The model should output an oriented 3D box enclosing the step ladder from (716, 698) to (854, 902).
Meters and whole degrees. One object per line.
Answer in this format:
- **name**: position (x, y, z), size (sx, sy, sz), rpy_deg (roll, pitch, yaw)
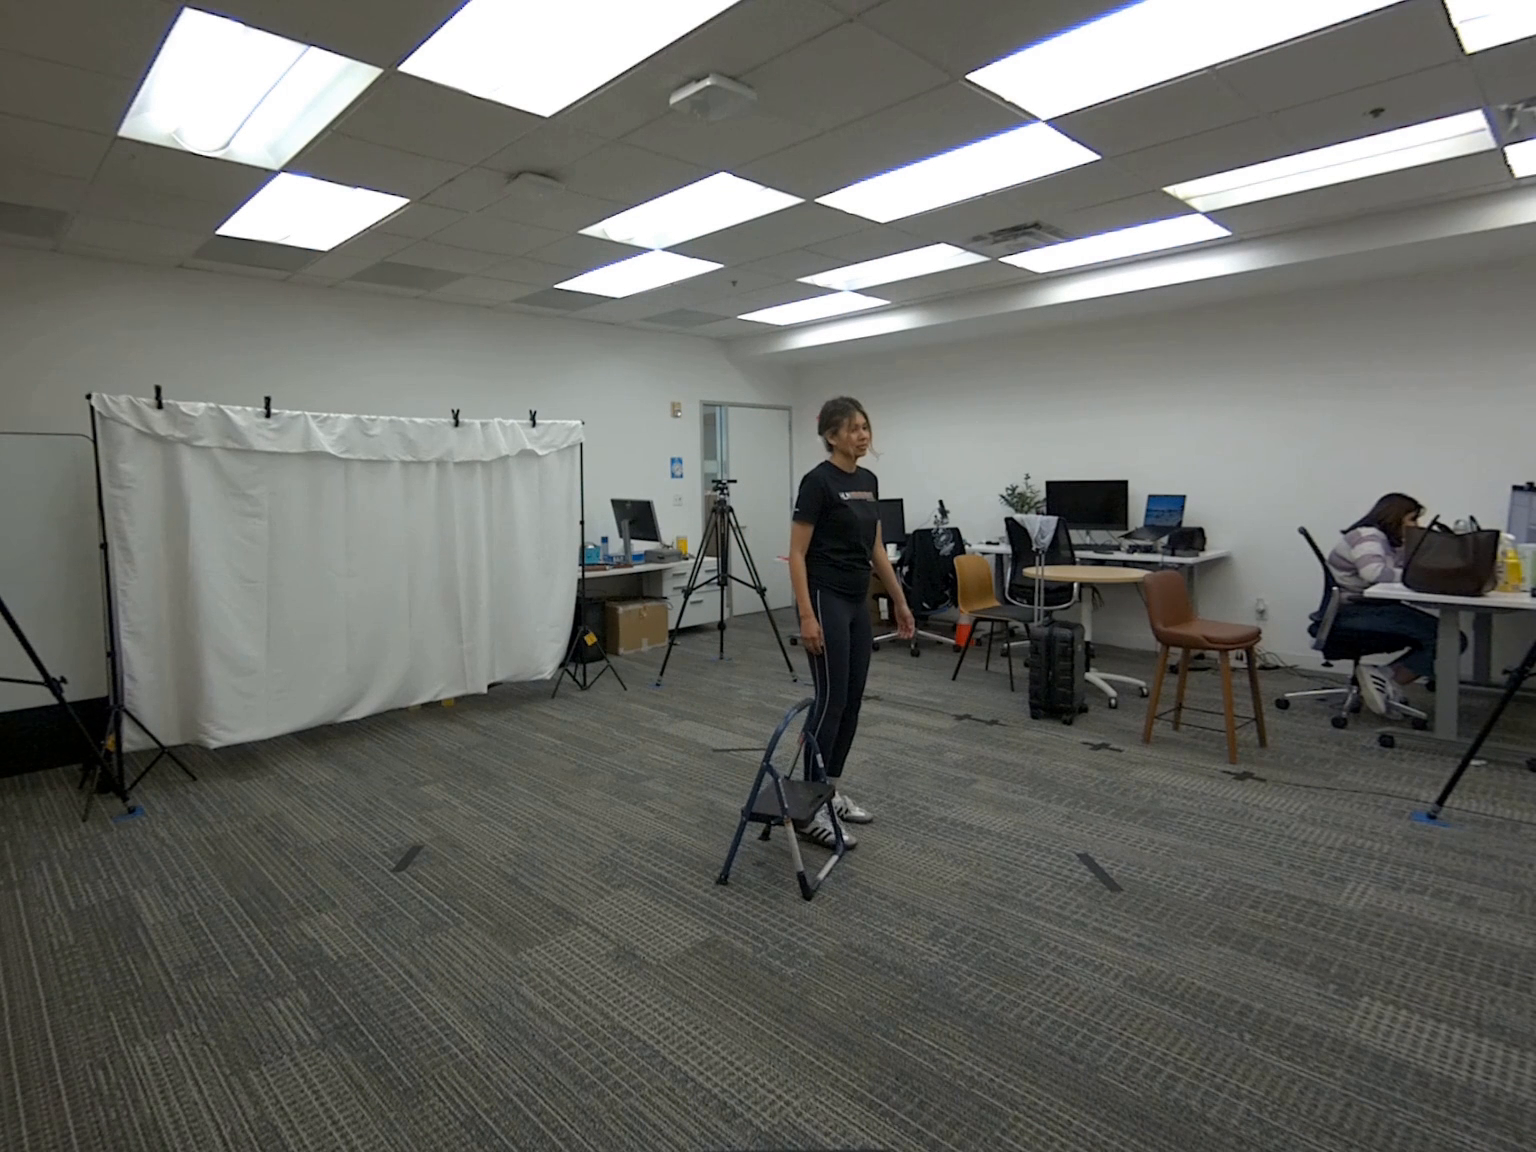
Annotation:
- **step ladder**: position (0.051, 0.748, 3.054), size (0.357, 0.604, 0.423), rpy_deg (0, 5, 23)
